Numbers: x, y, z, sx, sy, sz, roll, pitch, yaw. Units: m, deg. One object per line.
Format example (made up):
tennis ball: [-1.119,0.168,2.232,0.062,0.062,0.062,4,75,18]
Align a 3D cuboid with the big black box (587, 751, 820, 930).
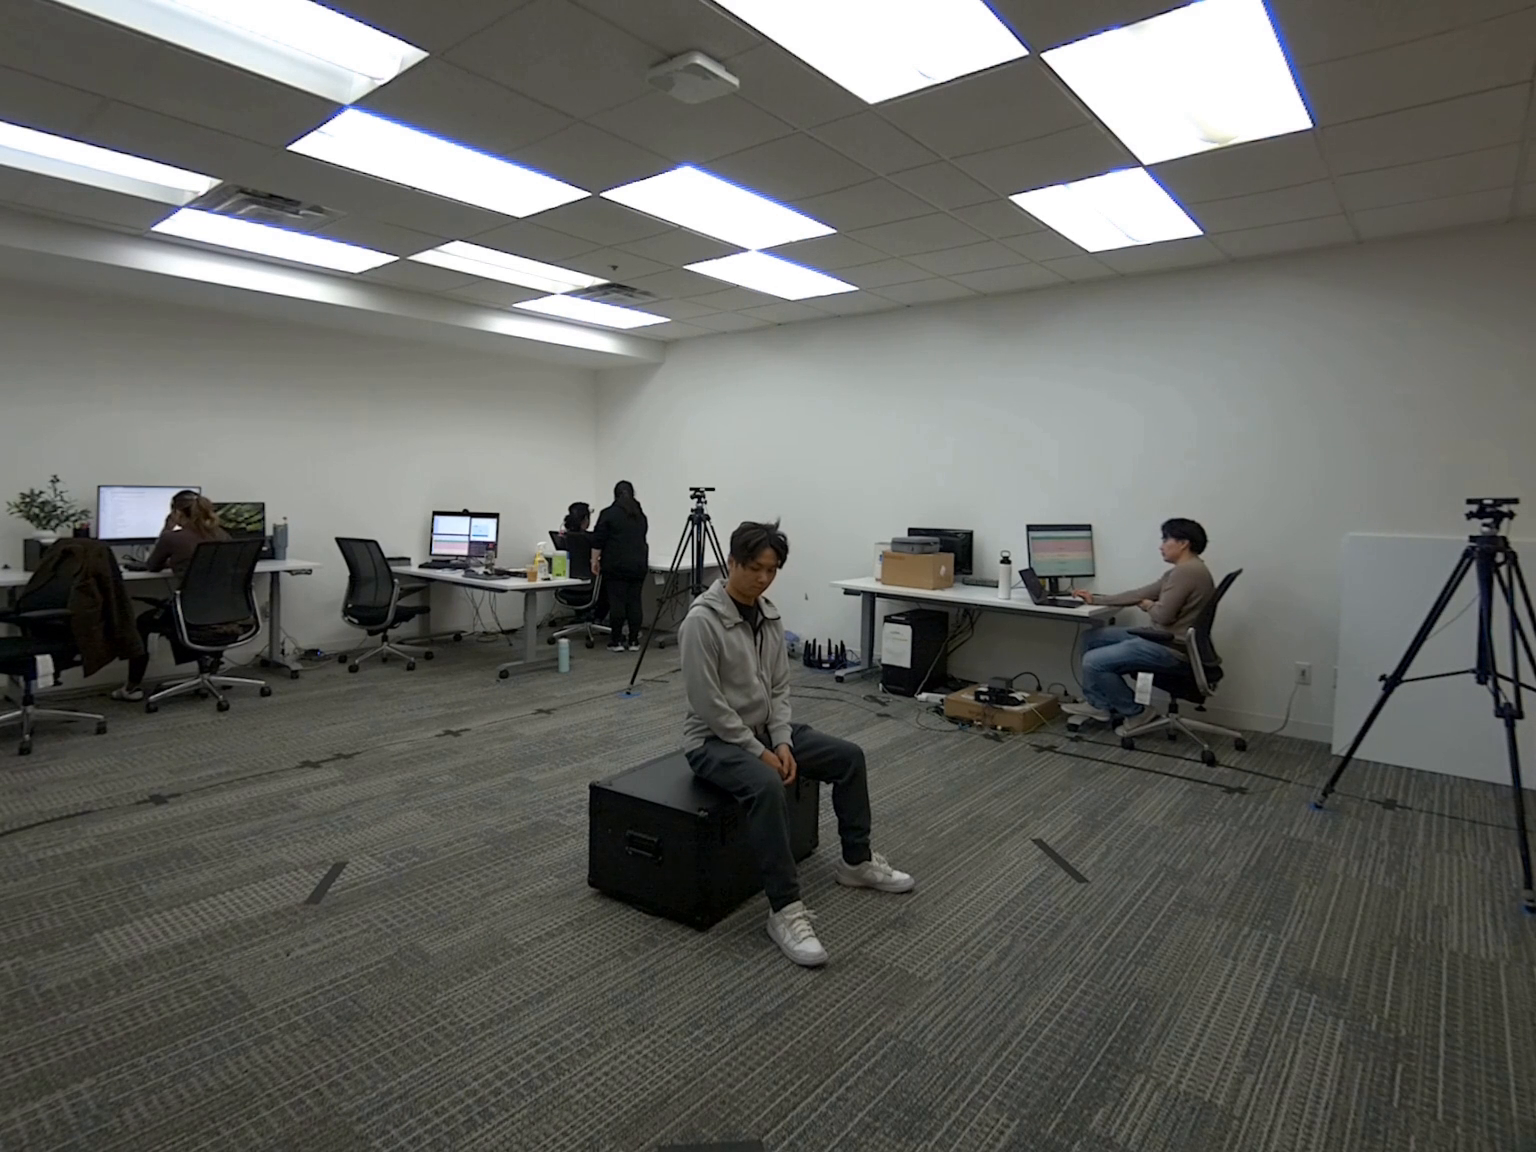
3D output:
big black box: [-0.239,0.887,3.059,0.537,0.395,0.838,4,5,32]
